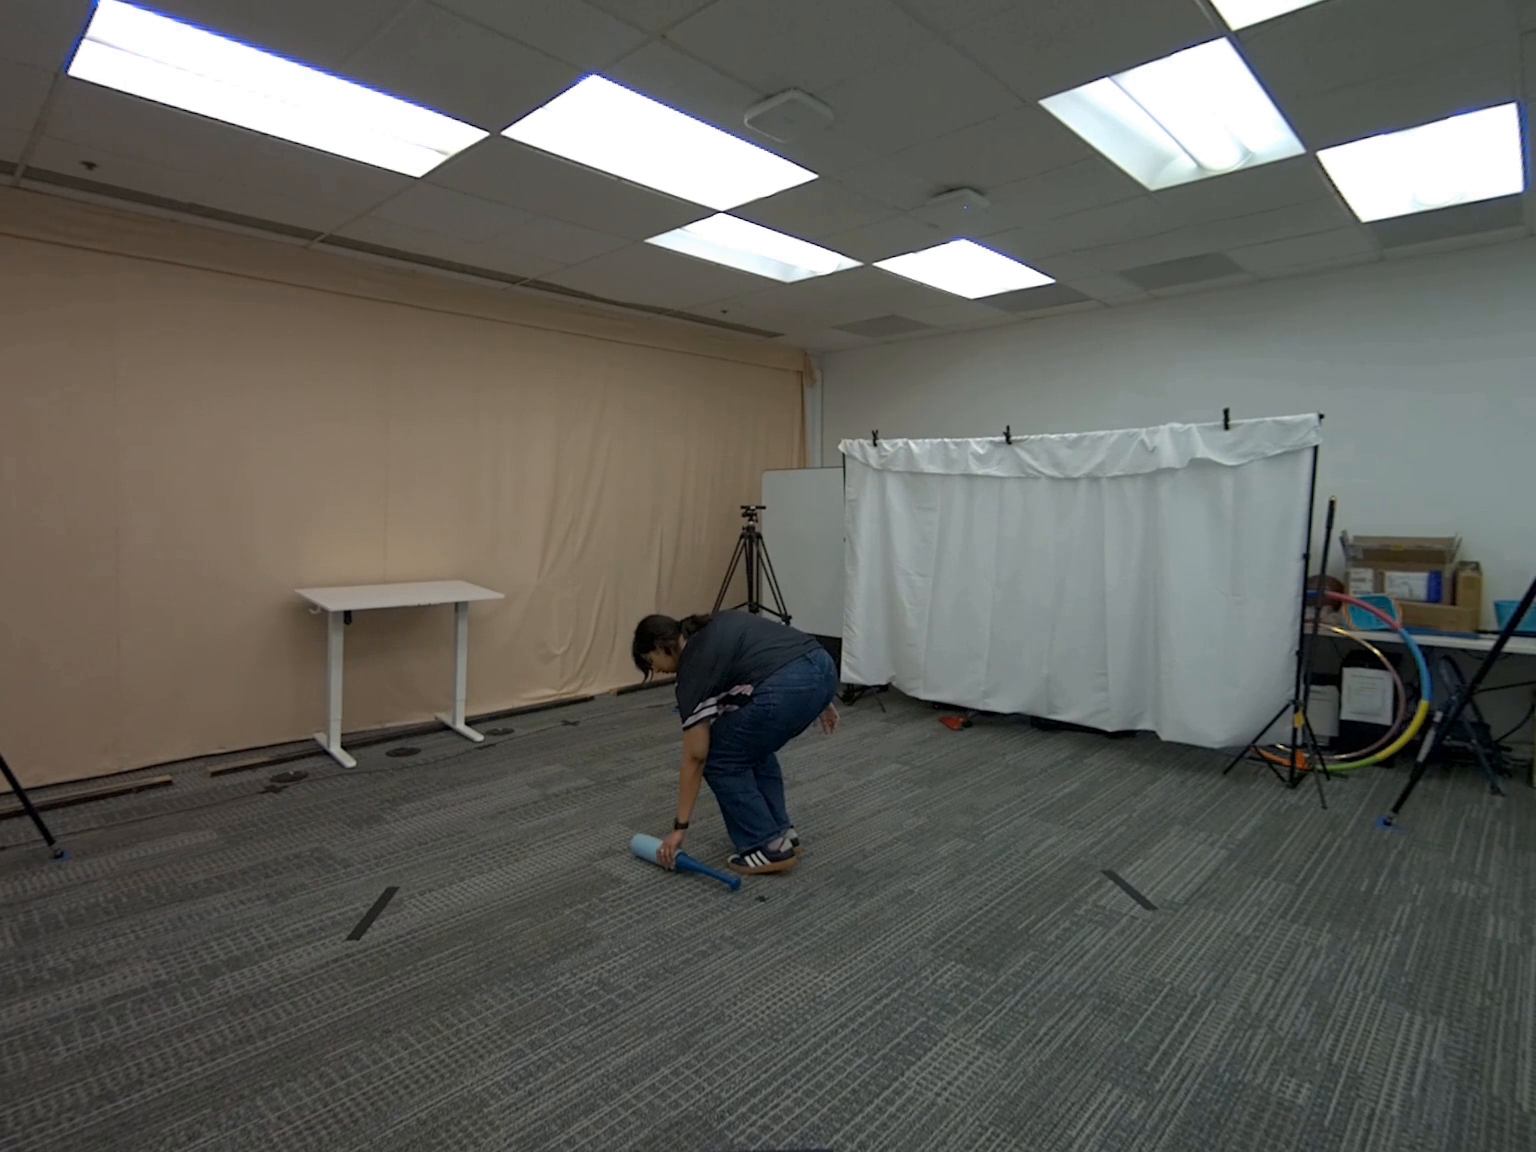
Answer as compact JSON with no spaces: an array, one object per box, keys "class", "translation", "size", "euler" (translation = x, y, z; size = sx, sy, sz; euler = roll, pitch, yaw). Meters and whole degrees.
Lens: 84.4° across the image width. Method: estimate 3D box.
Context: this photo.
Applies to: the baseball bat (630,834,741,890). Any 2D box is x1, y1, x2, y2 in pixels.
[{"class":"baseball bat","translation":[-0.316,1.078,3.196],"size":[0.562,0.089,0.086],"euler":[6,7,43]}]
